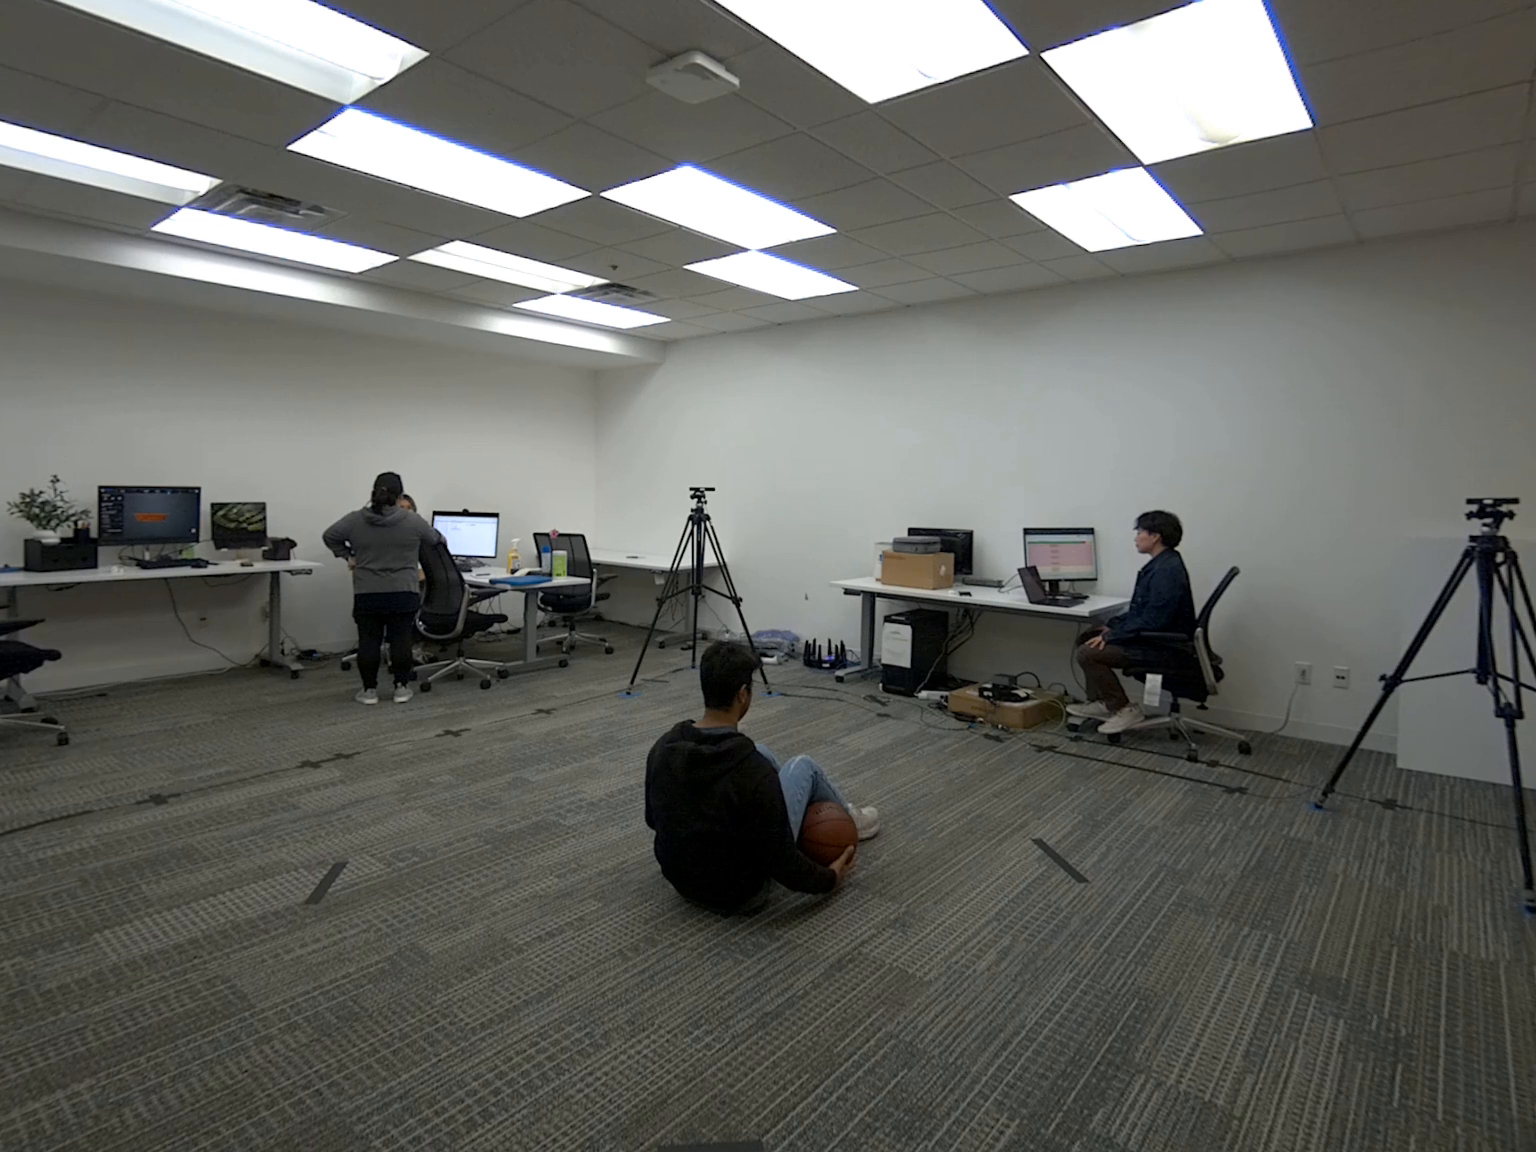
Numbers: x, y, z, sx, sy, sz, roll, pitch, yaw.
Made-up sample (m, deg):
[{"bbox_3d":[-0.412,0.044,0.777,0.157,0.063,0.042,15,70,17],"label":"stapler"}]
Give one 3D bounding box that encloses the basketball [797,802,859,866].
[{"bbox_3d":[0.190,0.936,3.034,0.235,0.235,0.237,1,4,-2],"label":"basketball"}]
